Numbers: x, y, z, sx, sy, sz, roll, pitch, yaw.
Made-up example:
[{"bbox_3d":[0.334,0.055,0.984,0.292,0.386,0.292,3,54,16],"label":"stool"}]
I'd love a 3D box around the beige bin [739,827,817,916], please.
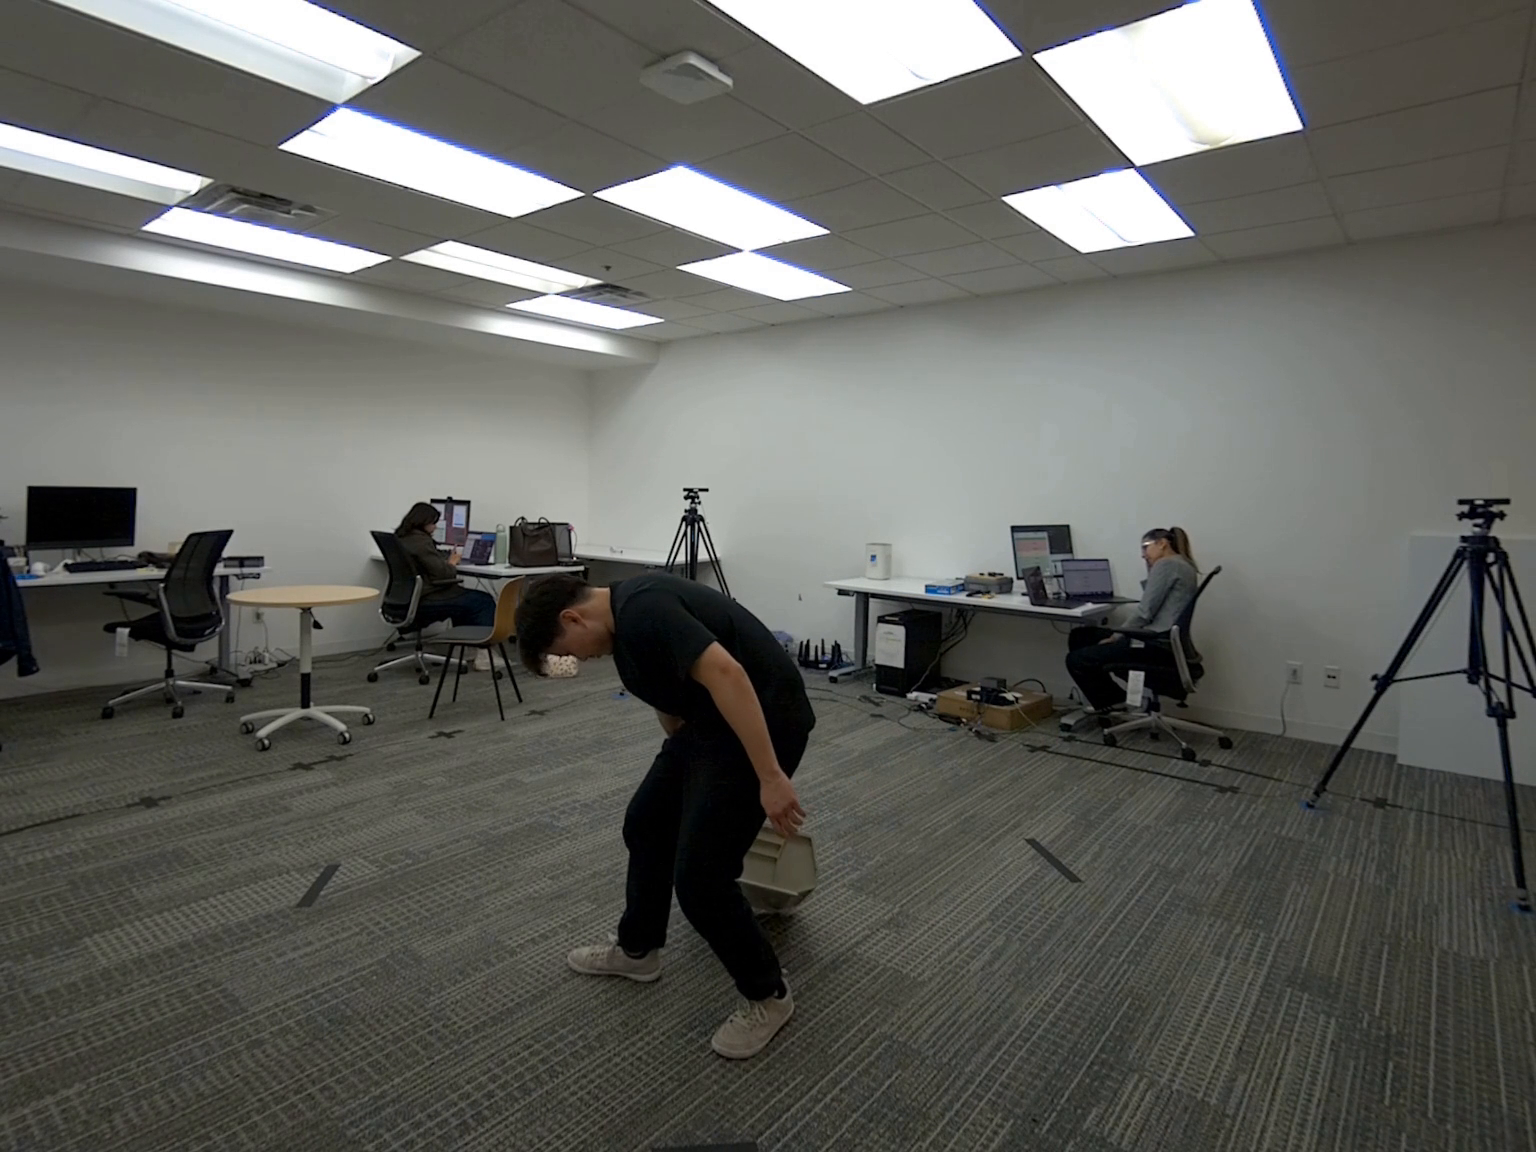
[{"bbox_3d":[-0.059,0.900,2.672,0.379,0.192,0.413,12,-29,2],"label":"beige bin"}]
